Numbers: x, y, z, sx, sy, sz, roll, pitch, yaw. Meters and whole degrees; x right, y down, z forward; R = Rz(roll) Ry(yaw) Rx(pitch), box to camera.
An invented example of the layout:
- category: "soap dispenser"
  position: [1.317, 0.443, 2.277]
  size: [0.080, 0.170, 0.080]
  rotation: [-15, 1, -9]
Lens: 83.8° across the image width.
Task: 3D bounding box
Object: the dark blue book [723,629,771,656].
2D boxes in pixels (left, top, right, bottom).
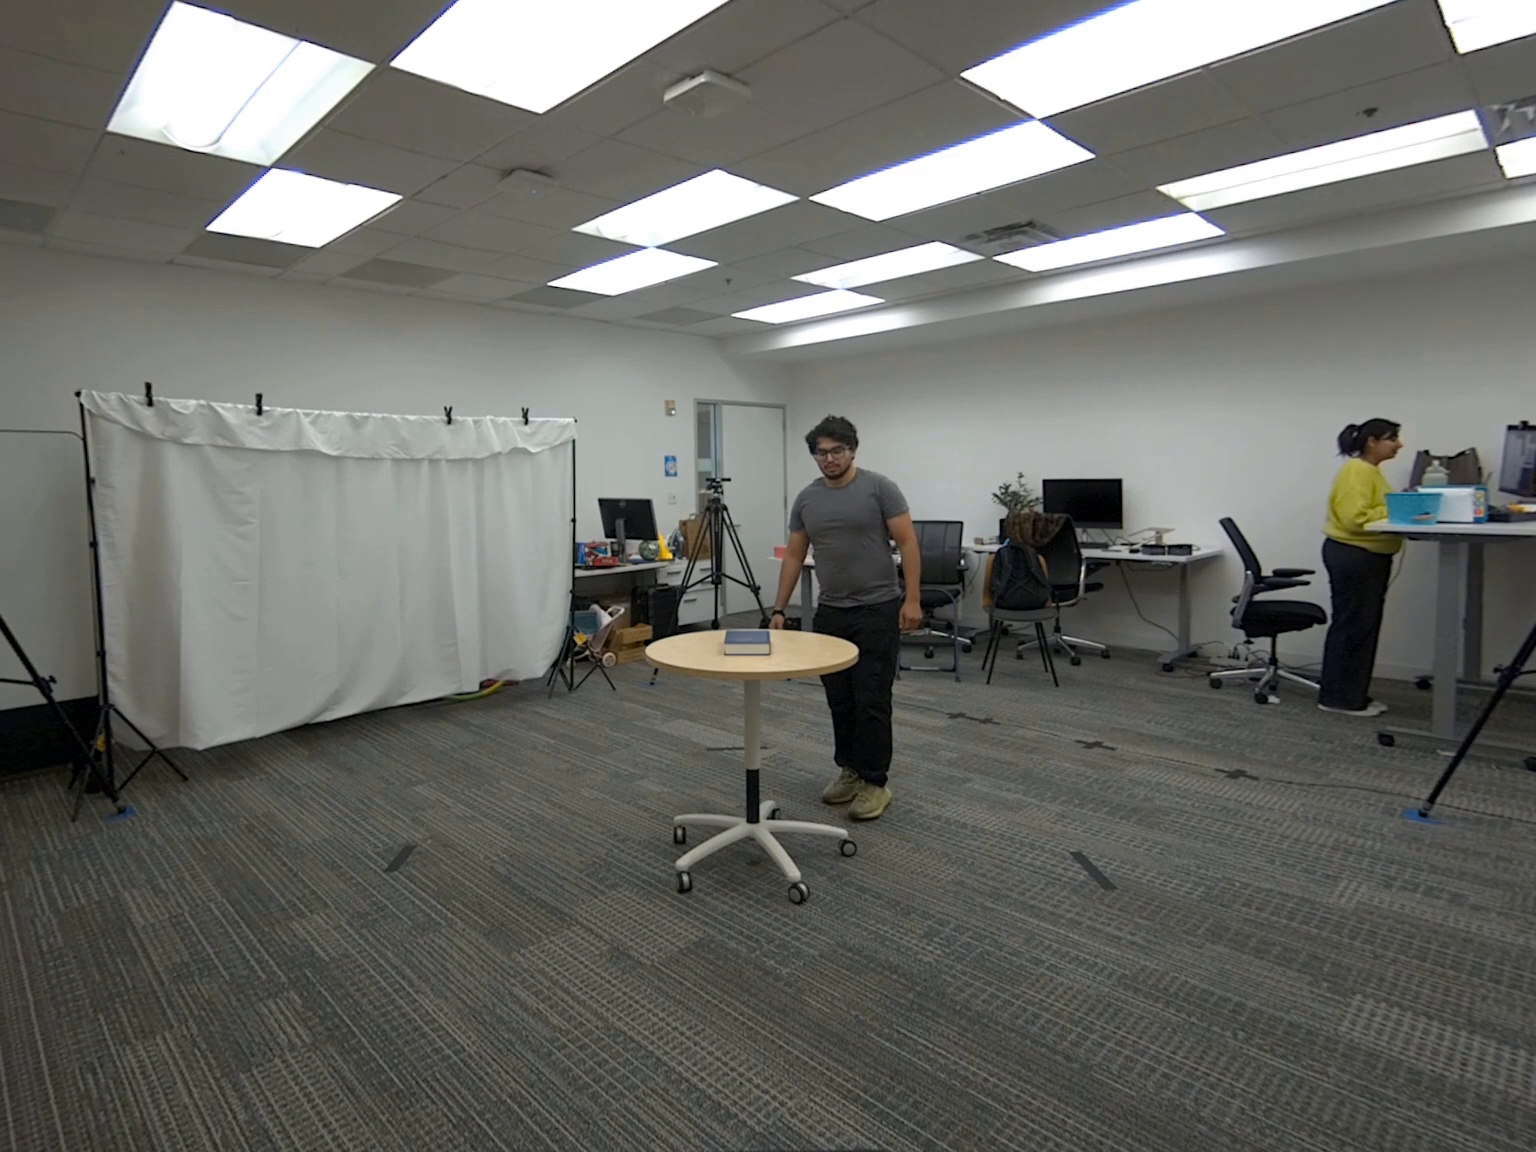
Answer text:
- category: "dark blue book"
  position: [-0.065, 0.242, 3.083]
  size: [0.163, 0.045, 0.246]
  rotation: [-2, 6, 0]
